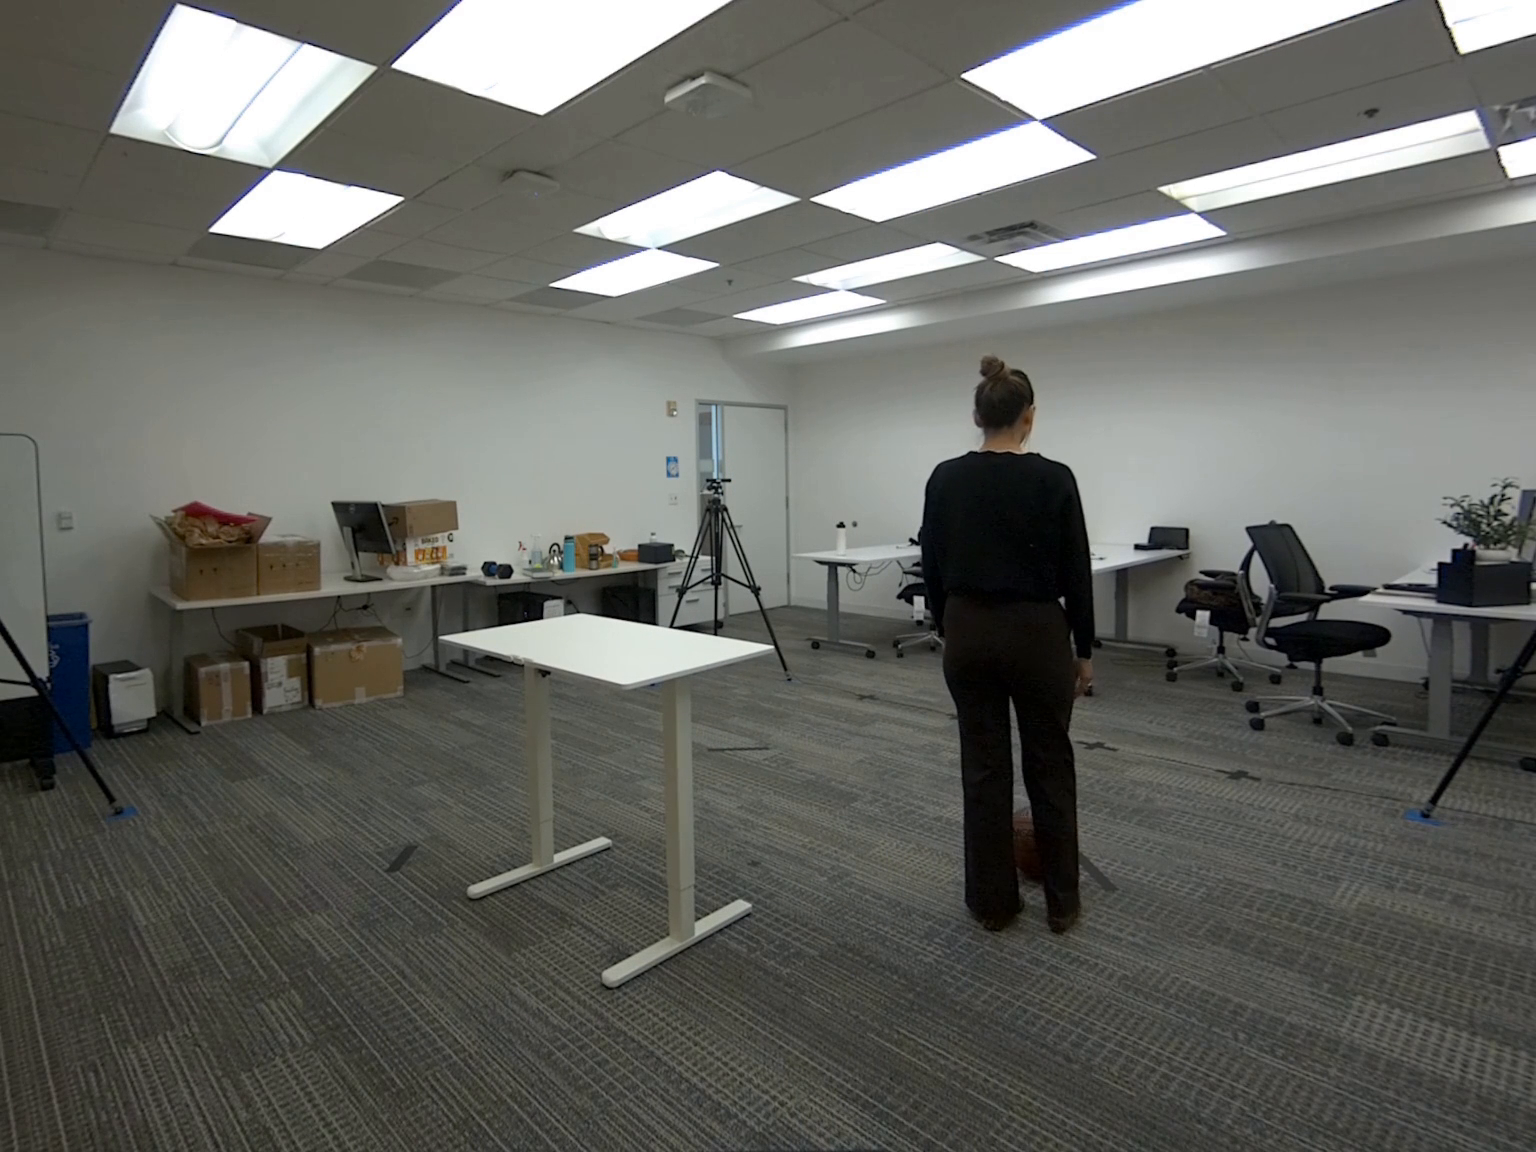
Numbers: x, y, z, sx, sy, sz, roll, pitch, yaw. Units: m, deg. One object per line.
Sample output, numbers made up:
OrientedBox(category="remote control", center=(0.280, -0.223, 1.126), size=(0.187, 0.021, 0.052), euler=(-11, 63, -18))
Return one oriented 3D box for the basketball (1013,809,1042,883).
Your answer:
OrientedBox(category="basketball", center=(0.964, 0.933, 2.975), size=(0.236, 0.235, 0.237), euler=(-1, 5, -2))
